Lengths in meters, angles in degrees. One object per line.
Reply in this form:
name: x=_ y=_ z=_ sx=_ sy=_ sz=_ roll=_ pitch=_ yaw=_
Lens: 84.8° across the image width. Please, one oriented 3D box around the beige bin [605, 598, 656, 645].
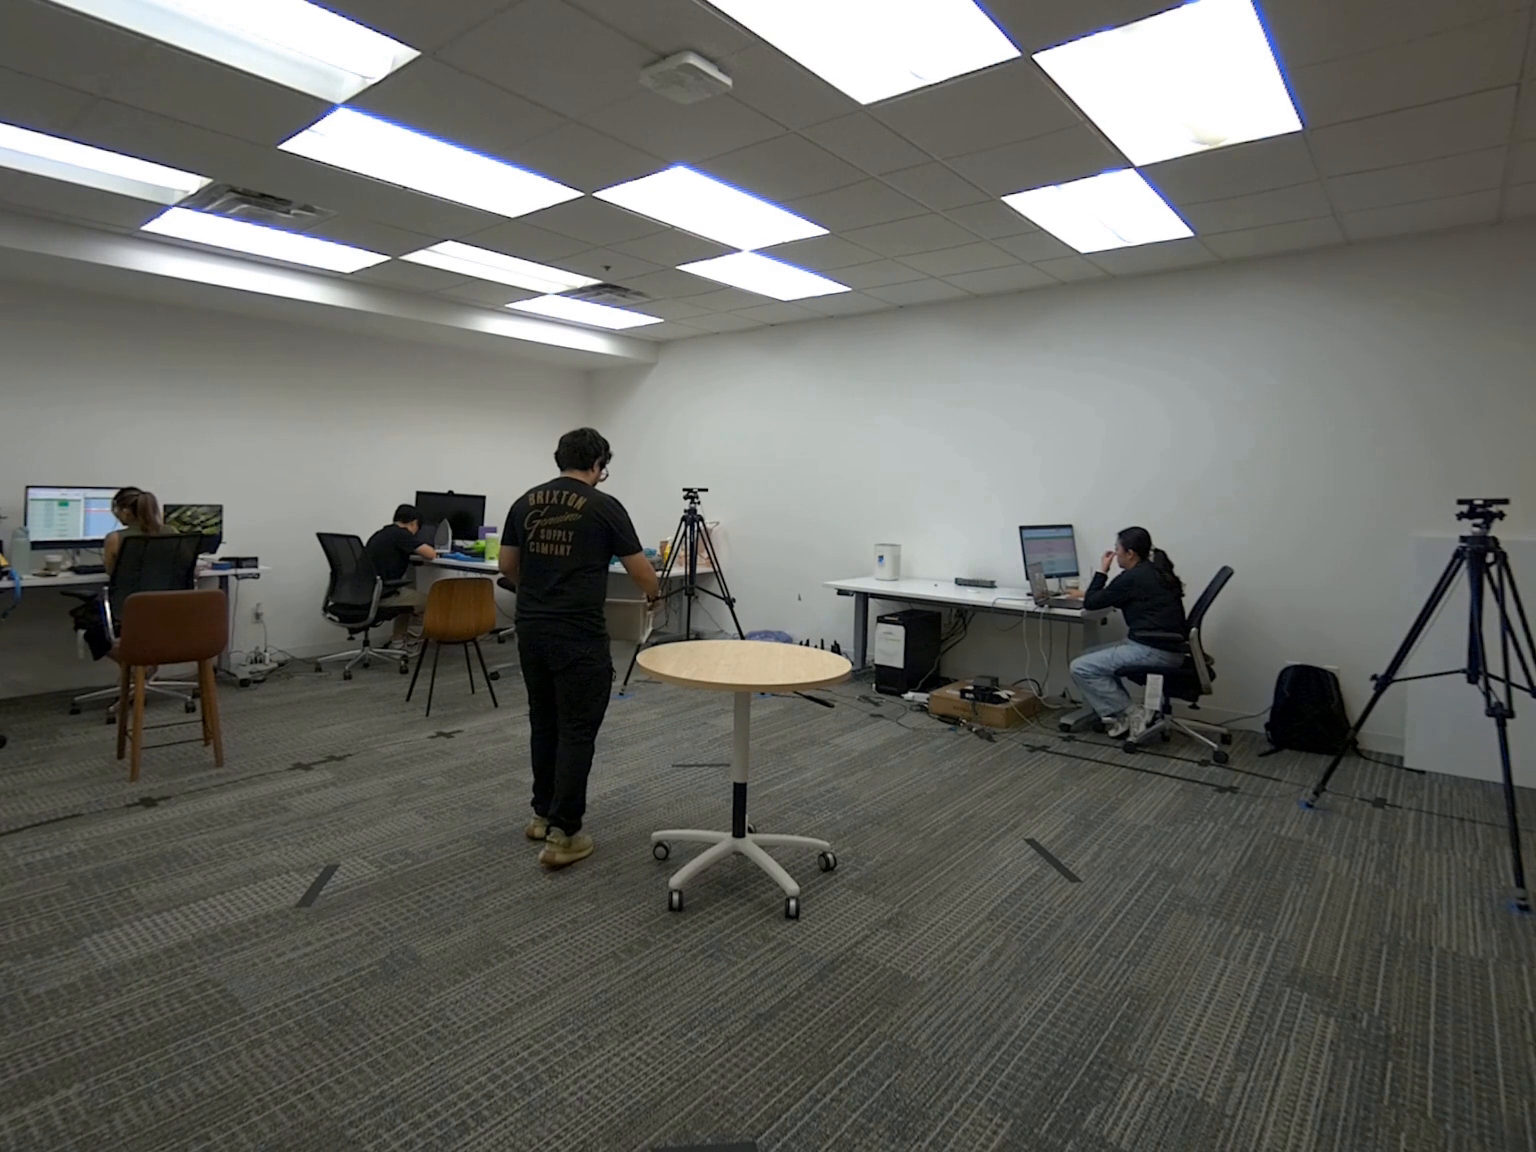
beige bin: x=-0.721 y=0.152 z=3.694 sx=0.423 sy=0.187 sz=0.379 roll=3 pitch=10 yaw=1
